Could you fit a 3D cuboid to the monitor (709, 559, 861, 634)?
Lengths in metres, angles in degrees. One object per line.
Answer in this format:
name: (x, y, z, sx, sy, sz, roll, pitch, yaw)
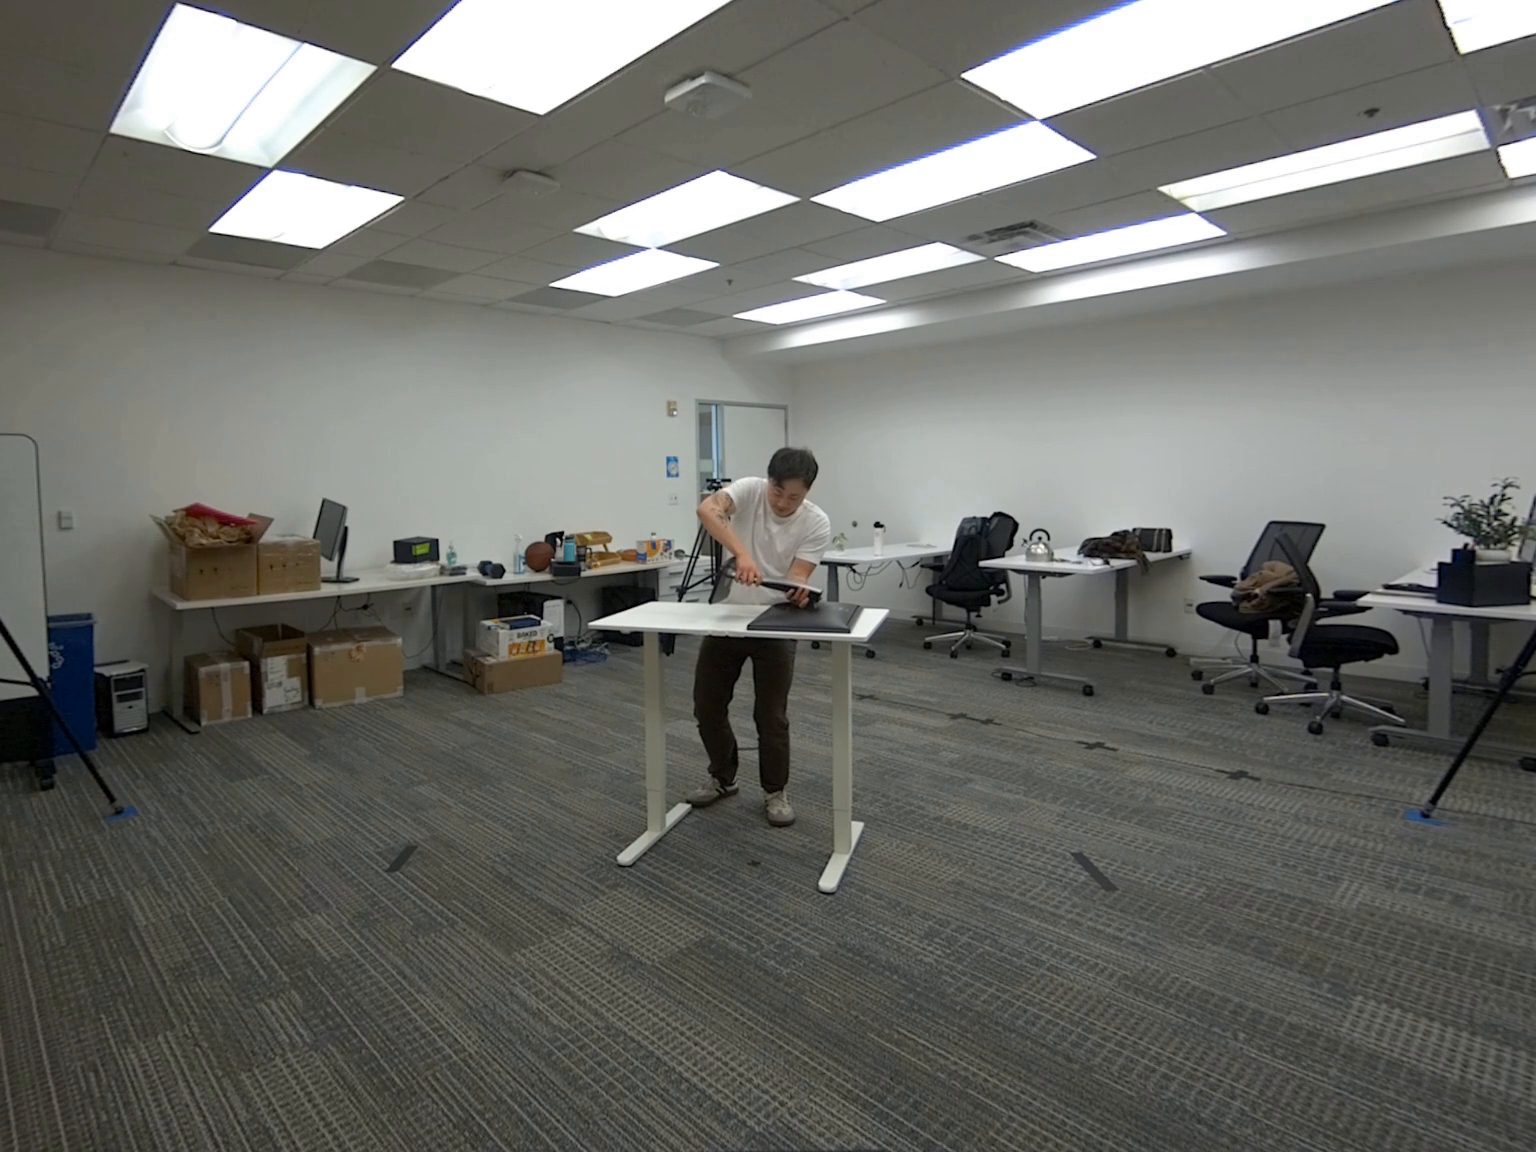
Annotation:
monitor: (0.070, 0.095, 3.140, 0.531, 0.186, 0.534, 18, 11, 12)
